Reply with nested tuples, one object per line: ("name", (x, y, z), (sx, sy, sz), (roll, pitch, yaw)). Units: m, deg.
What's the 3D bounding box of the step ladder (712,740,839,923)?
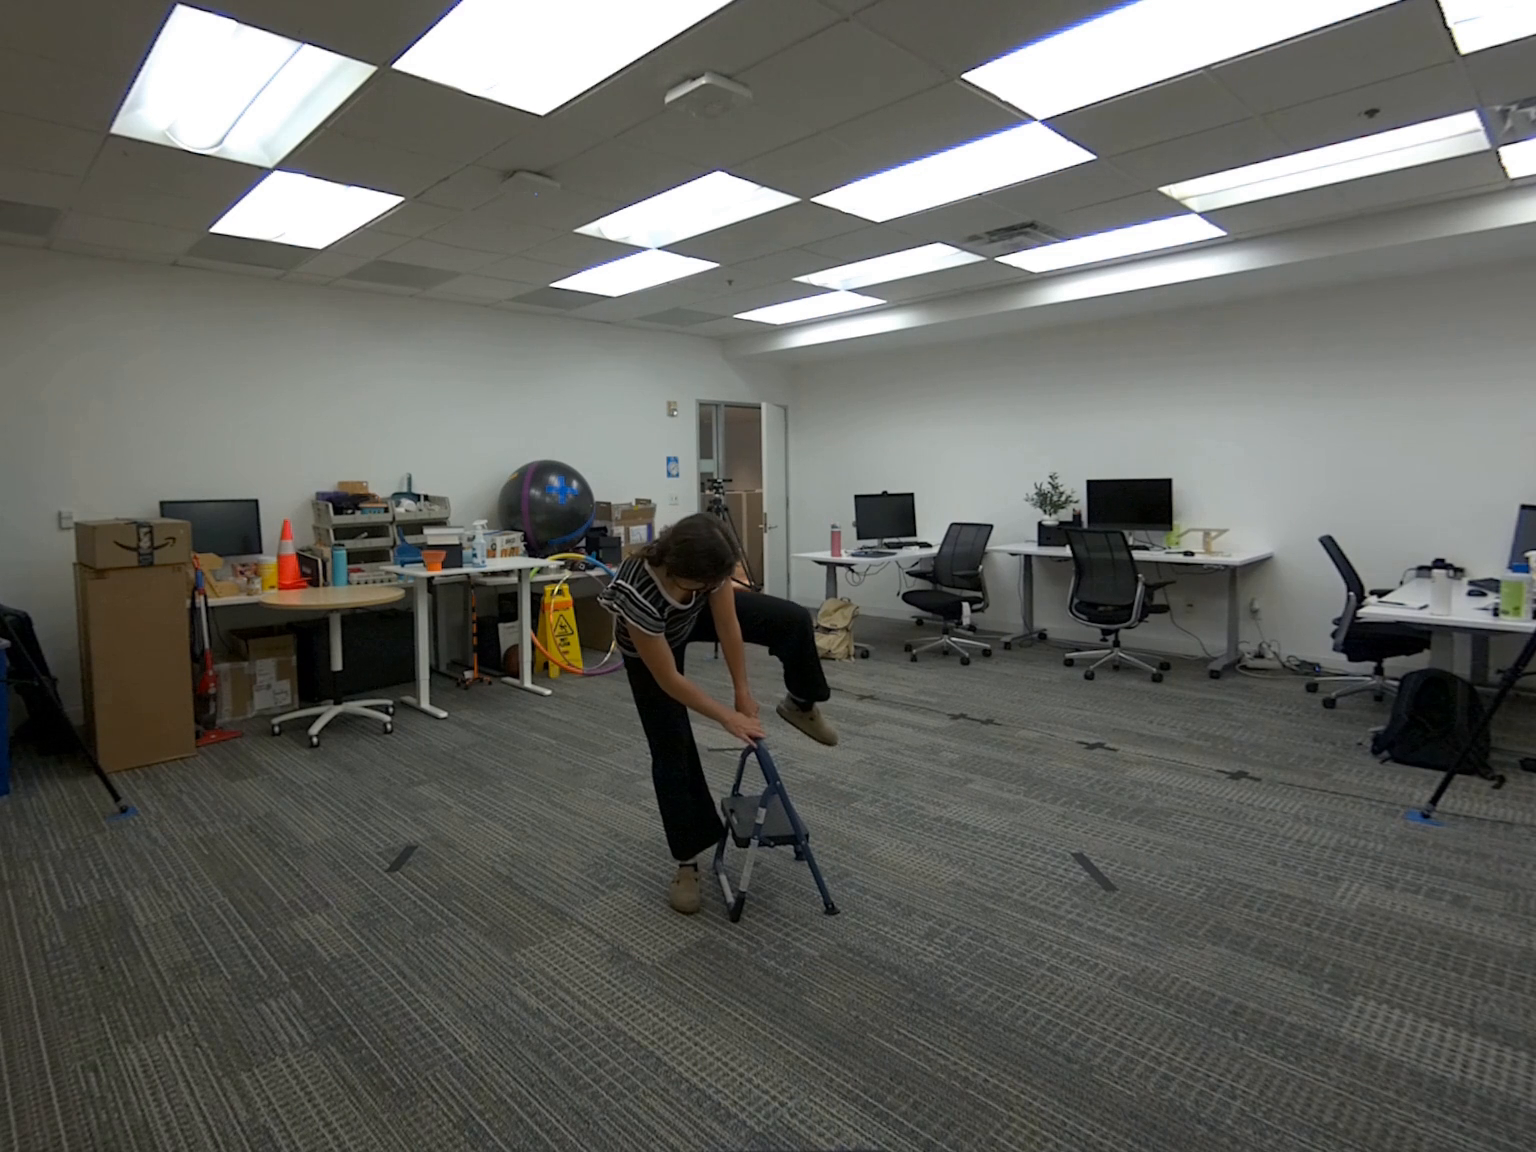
("step ladder", (0.007, 0.768, 2.899), (0.346, 0.604, 0.436), (-2, 4, -11))
